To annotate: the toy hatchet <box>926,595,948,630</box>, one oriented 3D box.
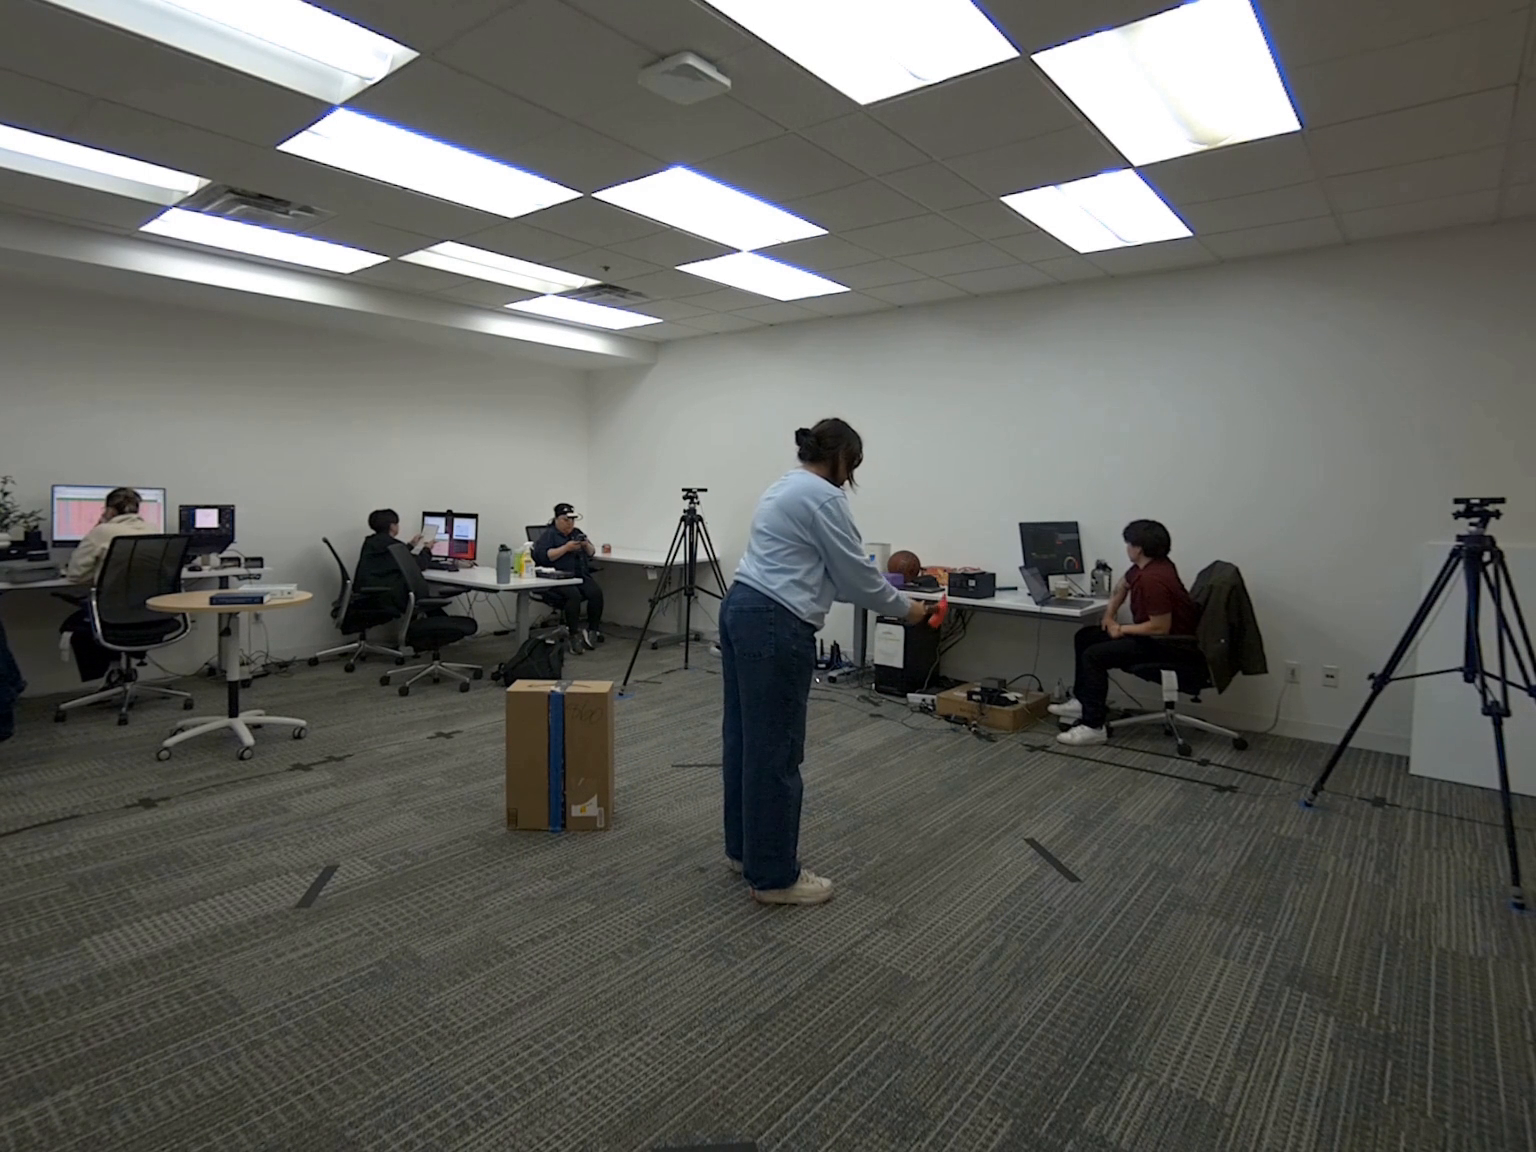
[{"bbox_3d":[0.571,0.136,3.169,0.265,0.128,0.031,-20,29,-34],"label":"toy hatchet"}]
